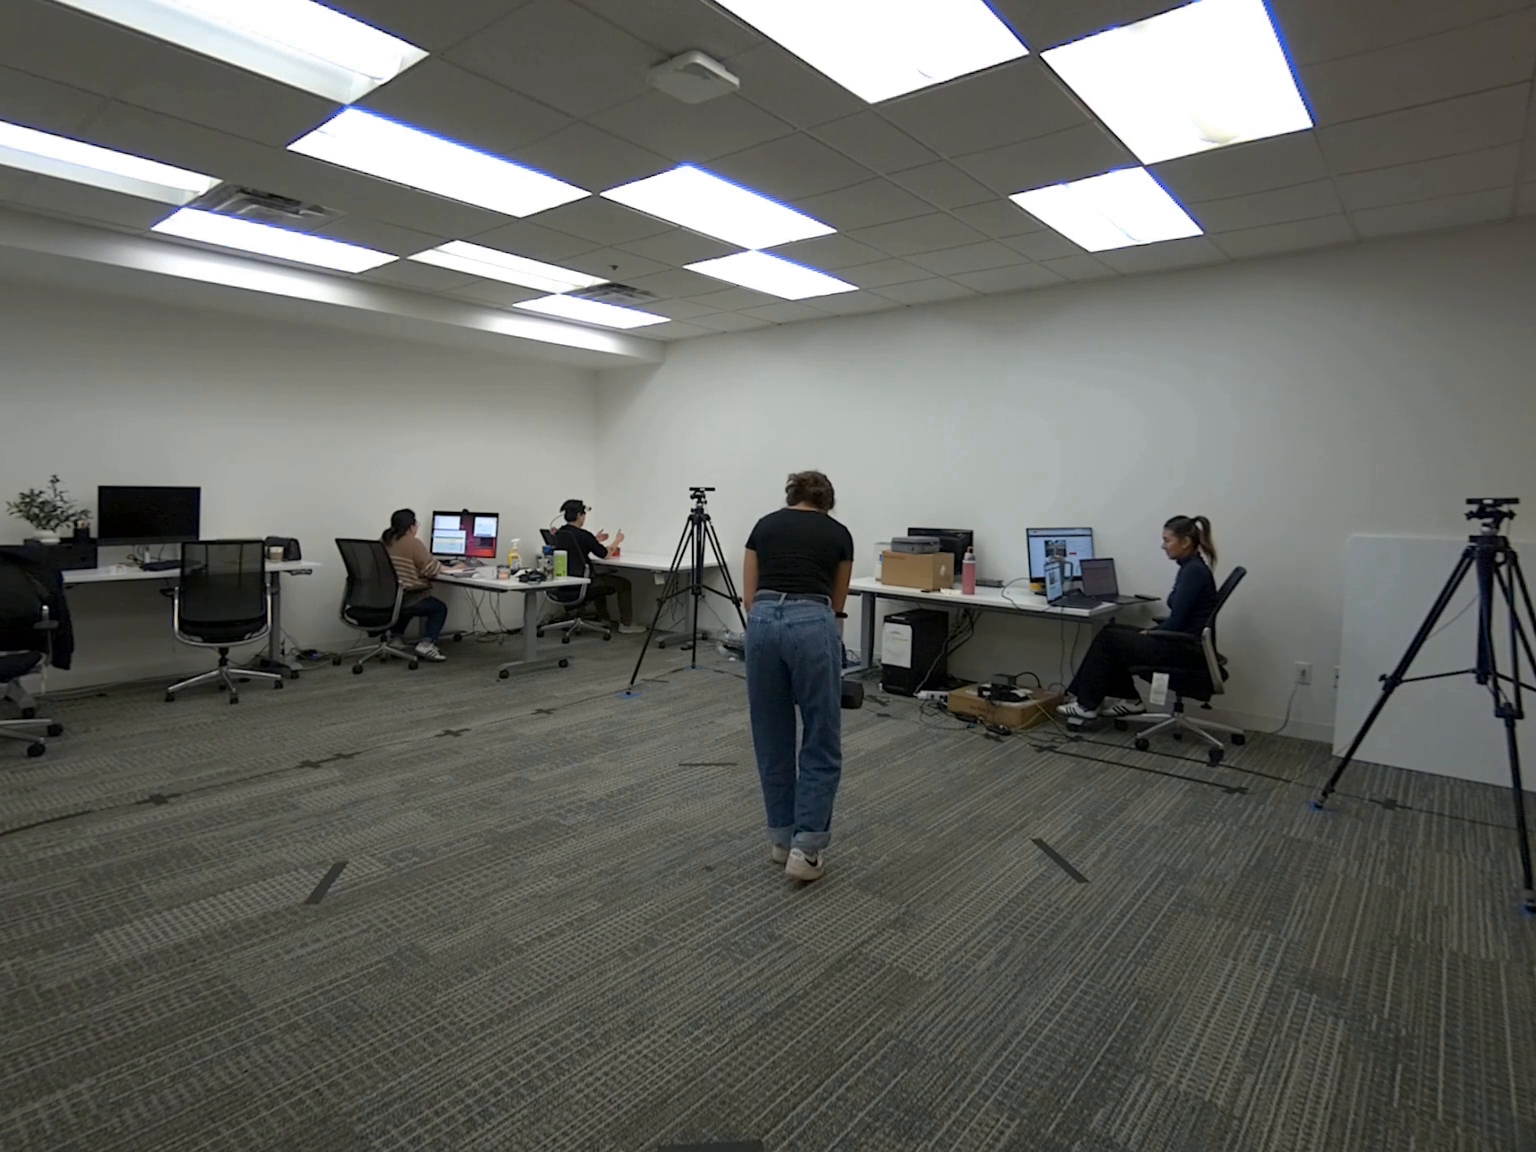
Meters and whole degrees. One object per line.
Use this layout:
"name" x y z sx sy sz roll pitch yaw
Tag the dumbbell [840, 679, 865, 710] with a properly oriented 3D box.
"dumbbell" 0.208 0.447 3.259 0.302 0.124 0.104 0 -35 33
